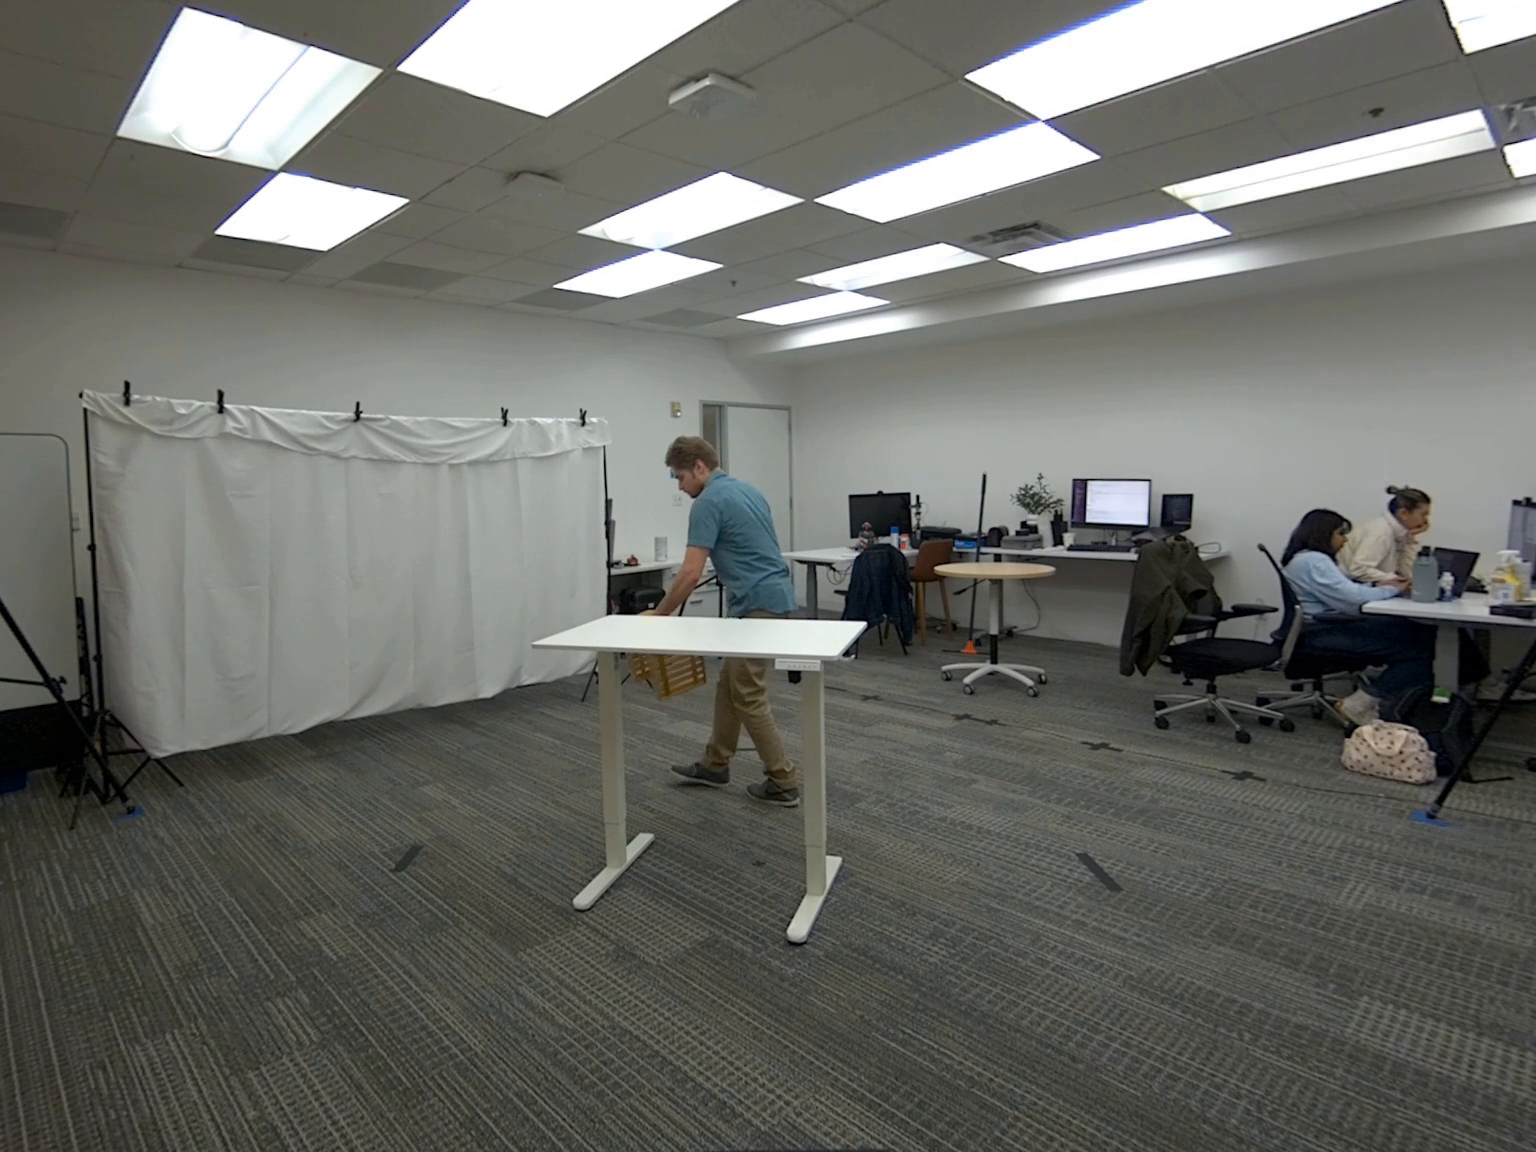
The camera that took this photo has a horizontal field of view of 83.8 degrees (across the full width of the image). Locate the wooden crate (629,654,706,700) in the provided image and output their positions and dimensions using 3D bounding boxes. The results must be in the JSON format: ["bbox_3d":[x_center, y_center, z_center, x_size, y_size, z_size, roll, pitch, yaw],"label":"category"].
[{"bbox_3d":[-0.464,0.333,3.852,0.298,0.316,0.284,-19,36,-21],"label":"wooden crate"}]
